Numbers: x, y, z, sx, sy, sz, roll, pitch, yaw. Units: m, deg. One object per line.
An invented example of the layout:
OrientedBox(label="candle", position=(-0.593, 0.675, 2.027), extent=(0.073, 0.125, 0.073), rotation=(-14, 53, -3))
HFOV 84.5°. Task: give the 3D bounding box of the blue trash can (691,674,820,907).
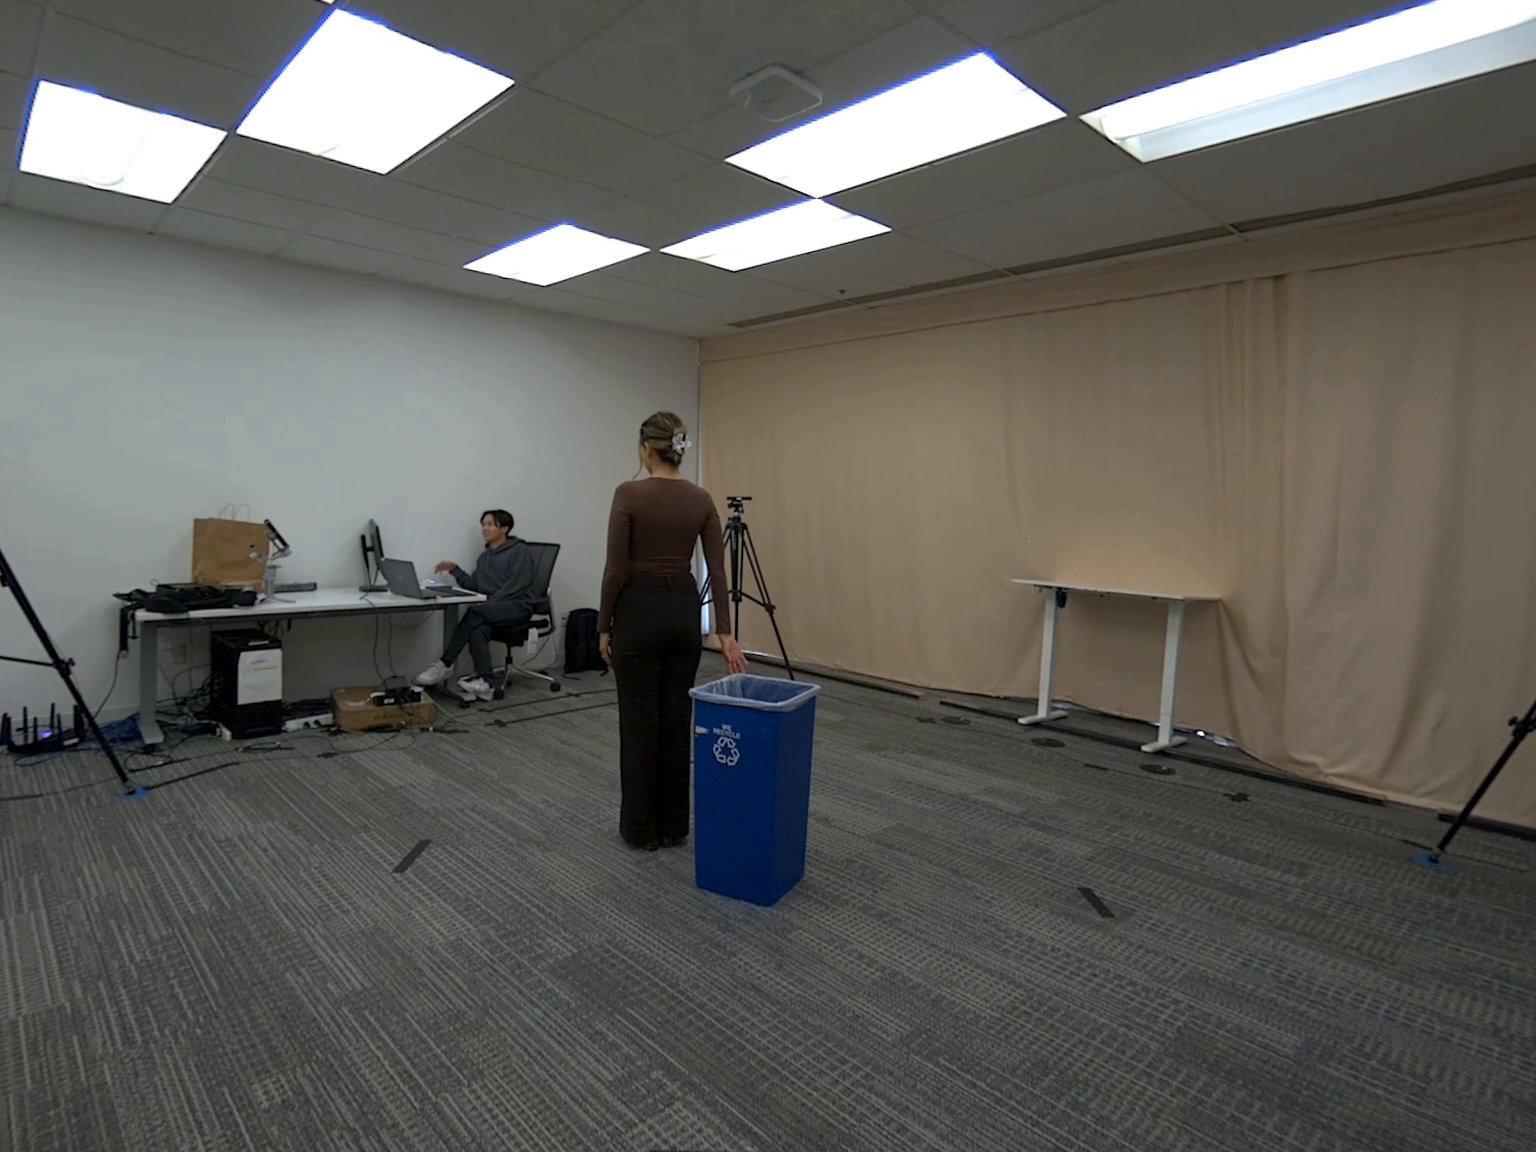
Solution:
OrientedBox(label="blue trash can", position=(-0.062, 0.754, 3.047), extent=(0.386, 0.711, 0.367), rotation=(3, 5, 27))
